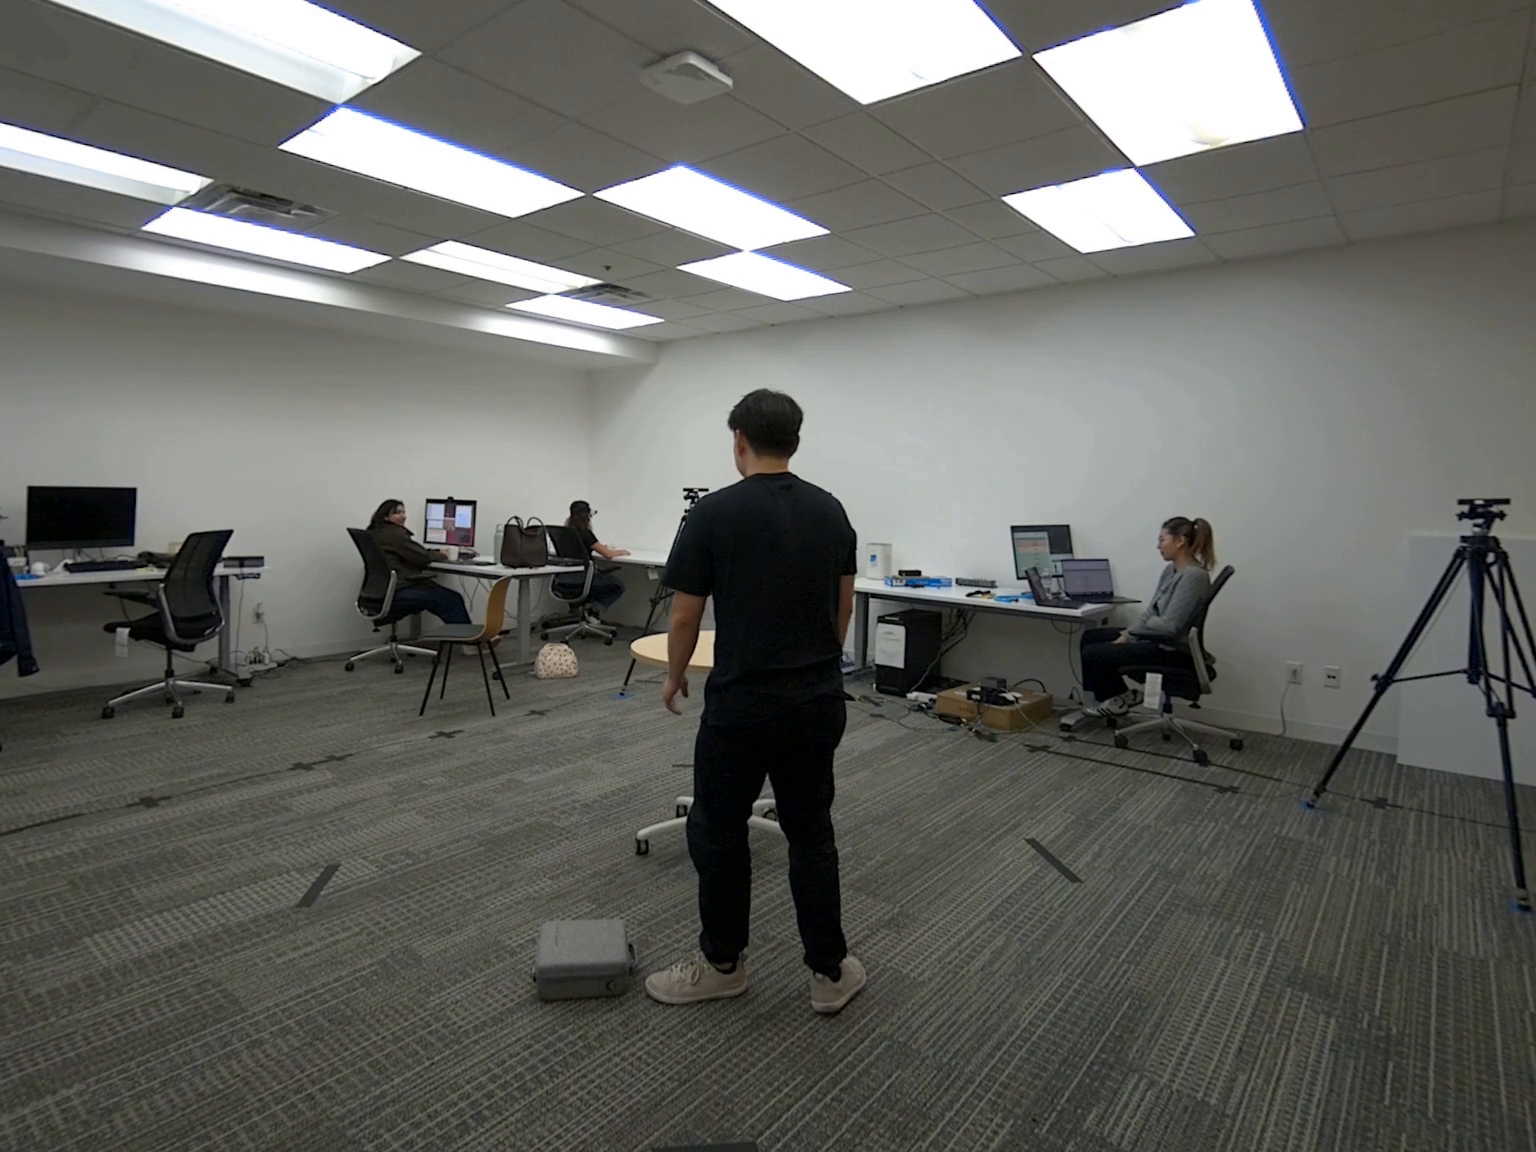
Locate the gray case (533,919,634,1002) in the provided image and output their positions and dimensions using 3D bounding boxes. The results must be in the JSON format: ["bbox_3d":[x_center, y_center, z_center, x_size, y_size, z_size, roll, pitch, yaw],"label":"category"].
[{"bbox_3d":[-0.534,1.075,2.412,0.257,0.104,0.261,0,6,-12],"label":"gray case"}]
